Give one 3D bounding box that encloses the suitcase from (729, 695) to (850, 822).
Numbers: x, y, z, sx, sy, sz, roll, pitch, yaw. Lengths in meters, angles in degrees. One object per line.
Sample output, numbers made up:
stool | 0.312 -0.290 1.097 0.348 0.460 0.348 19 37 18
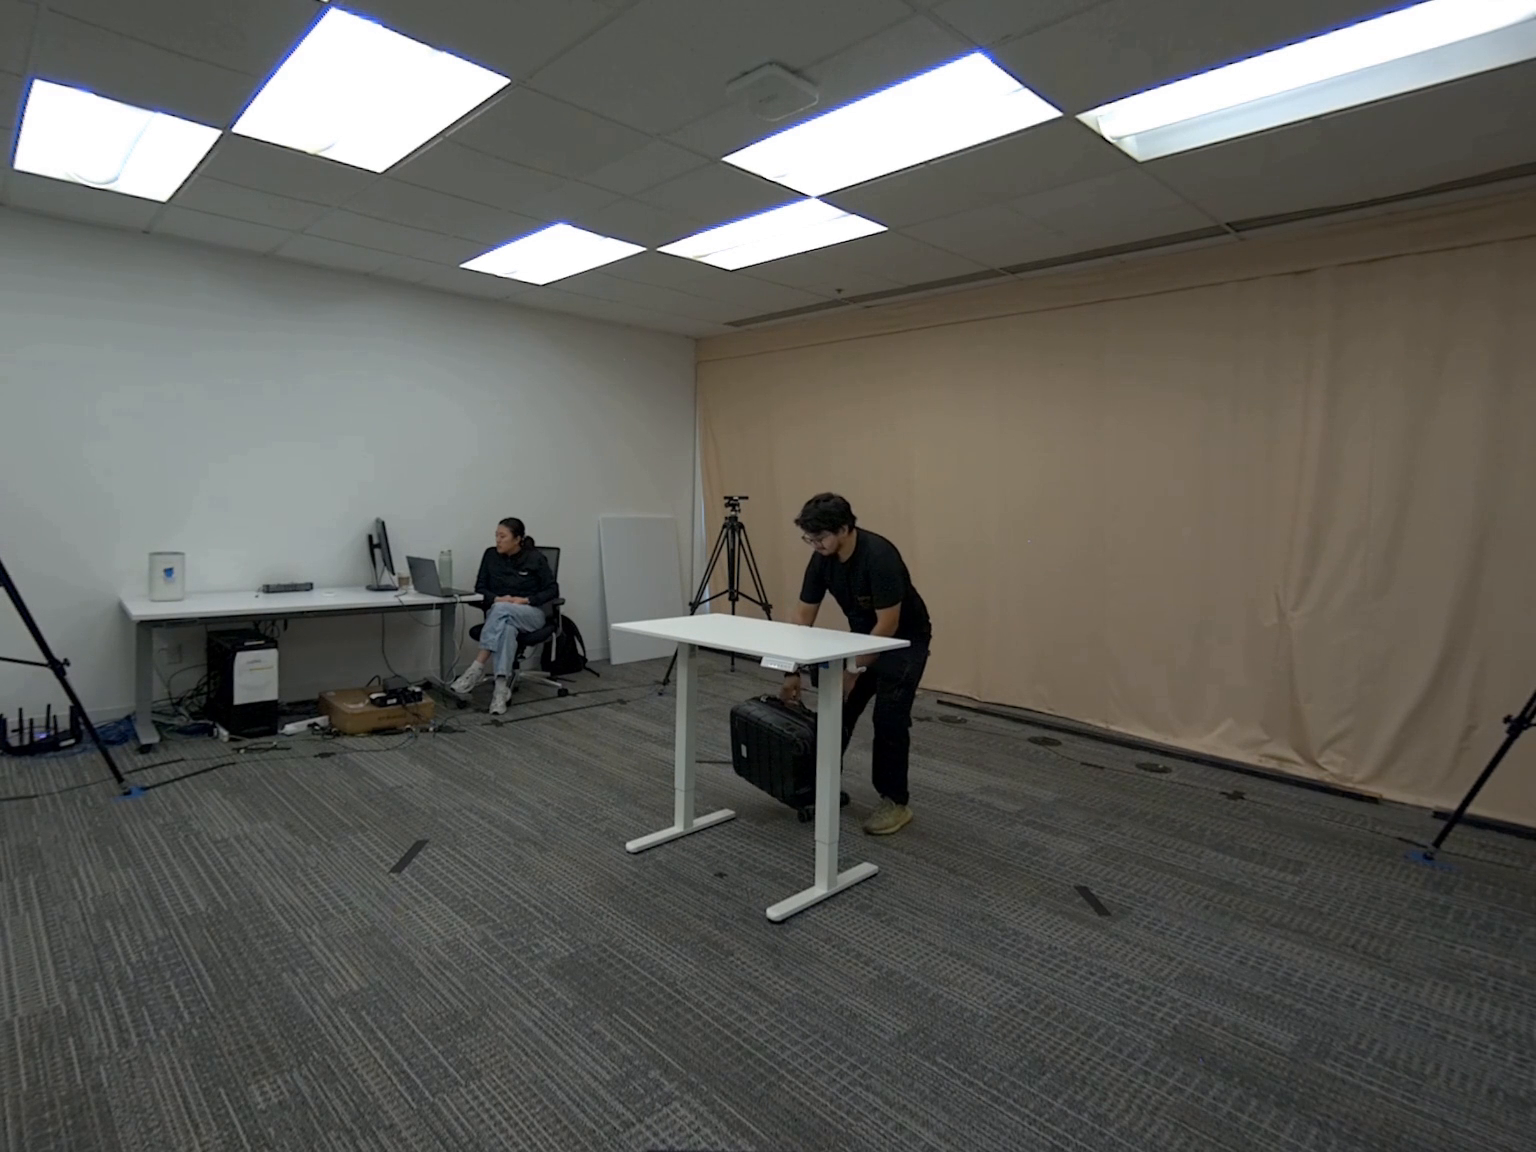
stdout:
suitcase | 0.063 0.745 3.620 0.244 0.372 0.564 -10 15 -34
